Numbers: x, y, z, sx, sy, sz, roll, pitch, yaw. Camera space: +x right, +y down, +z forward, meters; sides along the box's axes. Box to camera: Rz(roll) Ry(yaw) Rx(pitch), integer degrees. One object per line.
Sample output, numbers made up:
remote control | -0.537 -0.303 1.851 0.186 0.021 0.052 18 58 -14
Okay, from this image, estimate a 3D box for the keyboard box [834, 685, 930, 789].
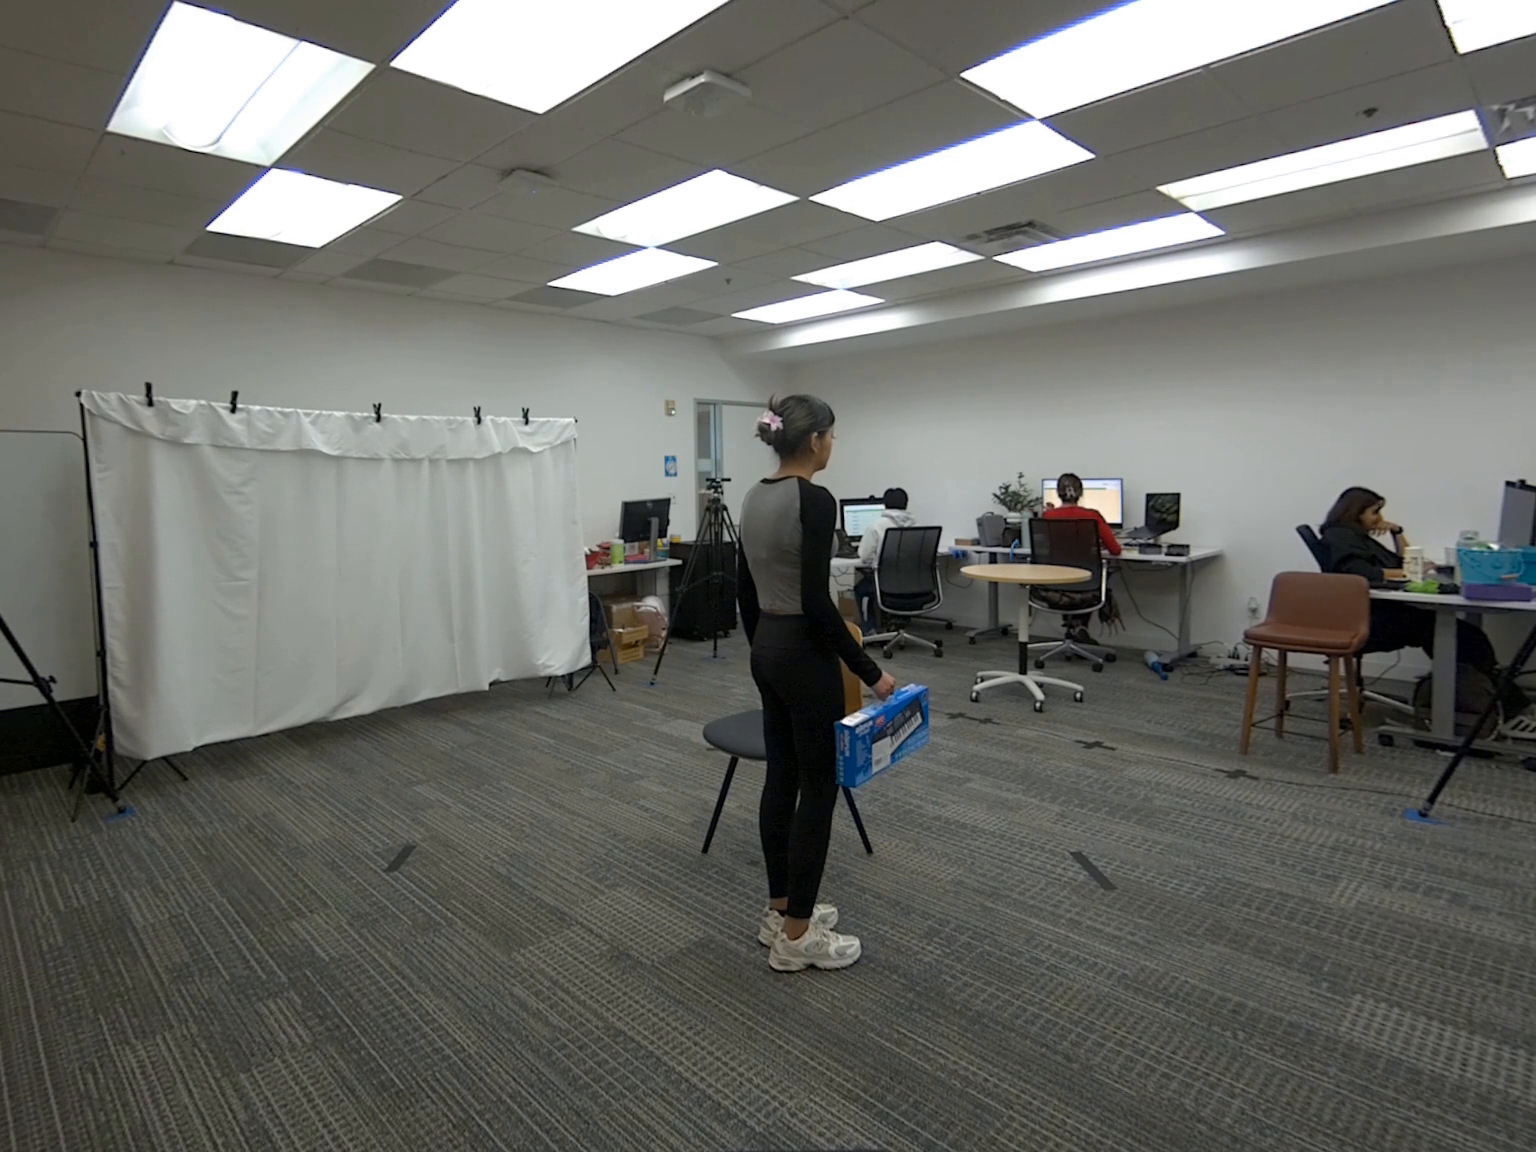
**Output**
keyboard box | 0.331 0.446 2.442 0.061 0.175 0.427 3 10 38
